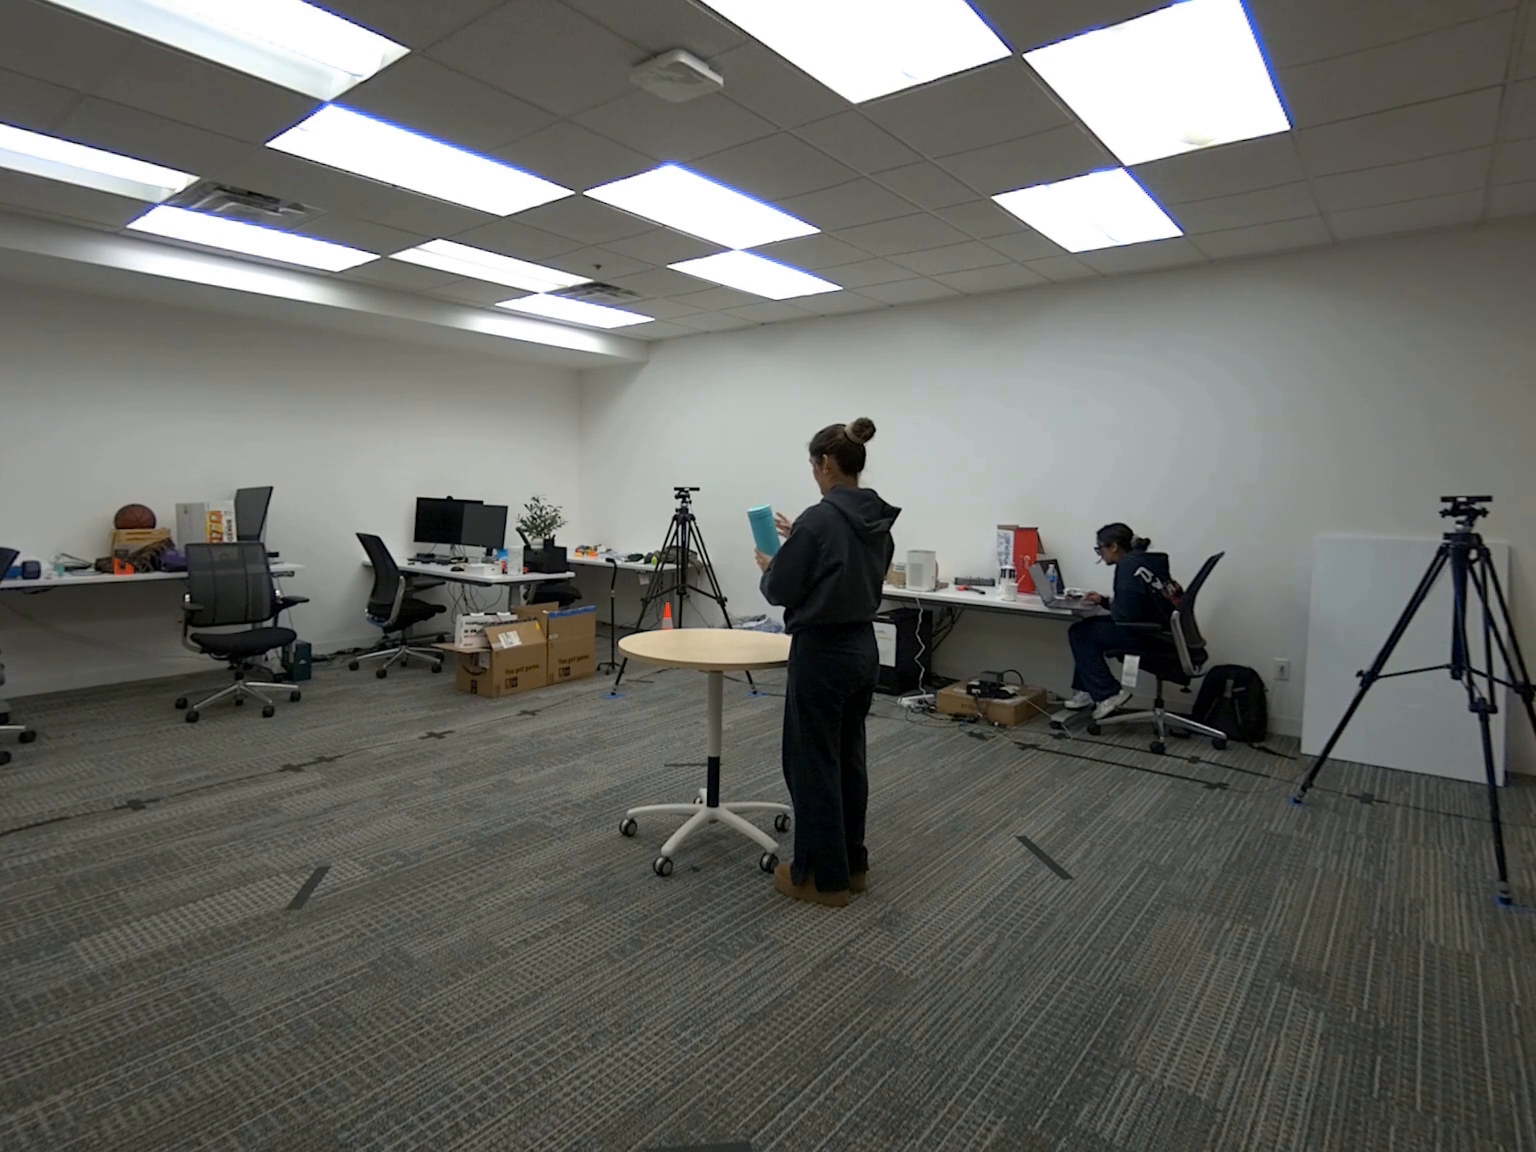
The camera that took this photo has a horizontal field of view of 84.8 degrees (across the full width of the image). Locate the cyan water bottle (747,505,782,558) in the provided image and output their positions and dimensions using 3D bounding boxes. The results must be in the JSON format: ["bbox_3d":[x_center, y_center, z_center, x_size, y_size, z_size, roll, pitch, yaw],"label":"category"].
[{"bbox_3d":[0.008,-0.124,3.160,0.092,0.279,0.093,-18,11,2],"label":"cyan water bottle"}]
